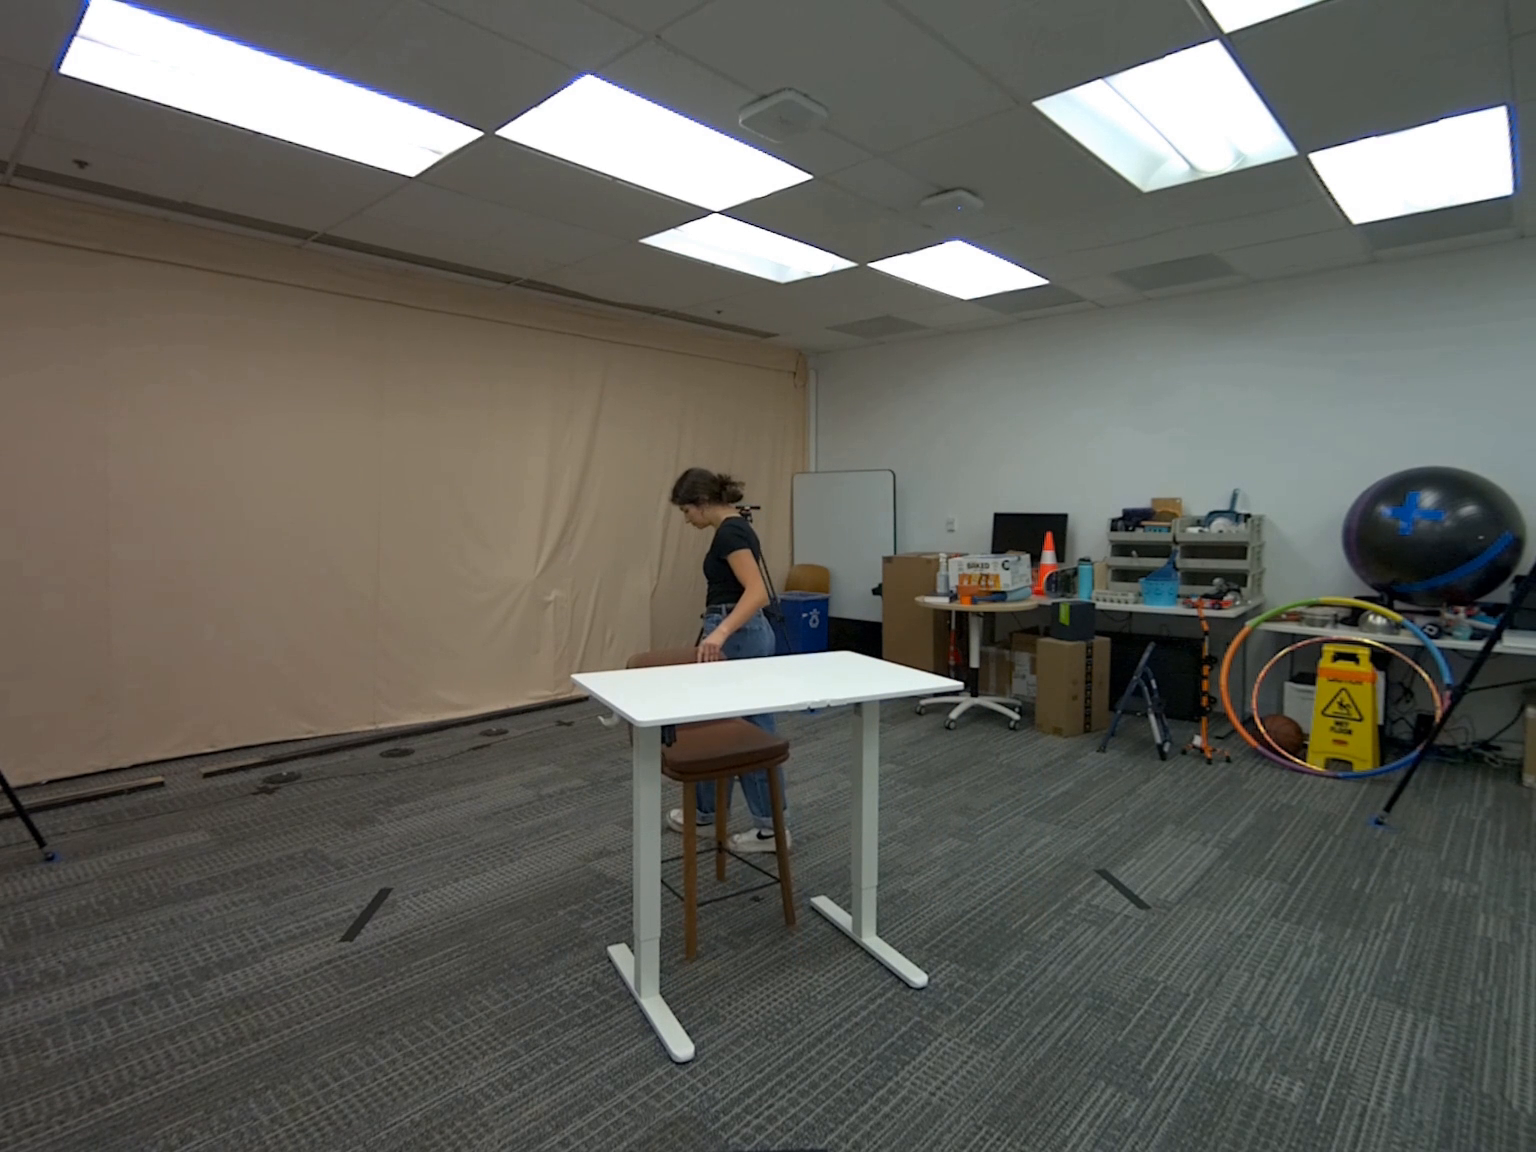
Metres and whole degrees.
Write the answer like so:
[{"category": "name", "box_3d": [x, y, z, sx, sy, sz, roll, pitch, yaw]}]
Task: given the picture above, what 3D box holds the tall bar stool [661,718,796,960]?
[{"category": "tall bar stool", "box_3d": [-0.211, 0.722, 2.863, 0.444, 0.889, 0.481, -3, 1, -33]}]
